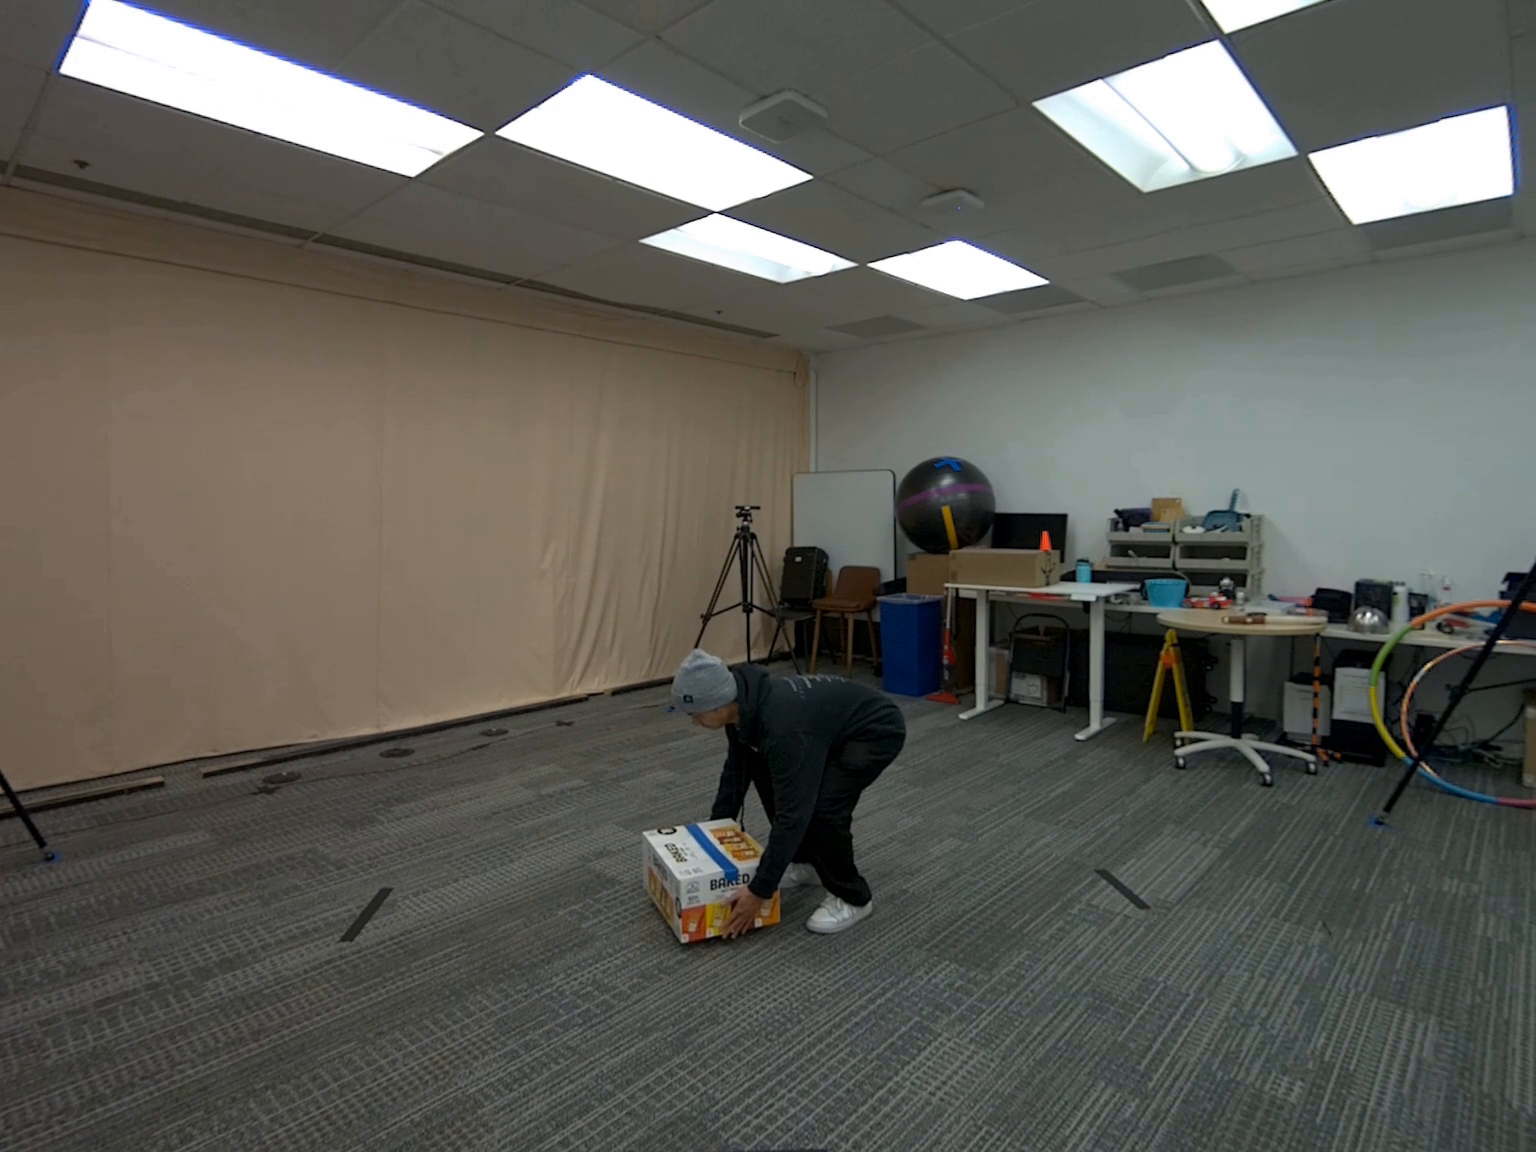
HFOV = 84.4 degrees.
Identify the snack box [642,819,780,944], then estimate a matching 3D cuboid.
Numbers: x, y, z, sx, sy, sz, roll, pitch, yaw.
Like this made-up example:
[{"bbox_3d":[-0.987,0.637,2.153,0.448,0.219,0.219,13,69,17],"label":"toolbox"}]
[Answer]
[{"bbox_3d":[-0.204,1.018,2.847,0.333,0.205,0.415,-3,6,-22],"label":"snack box"}]
